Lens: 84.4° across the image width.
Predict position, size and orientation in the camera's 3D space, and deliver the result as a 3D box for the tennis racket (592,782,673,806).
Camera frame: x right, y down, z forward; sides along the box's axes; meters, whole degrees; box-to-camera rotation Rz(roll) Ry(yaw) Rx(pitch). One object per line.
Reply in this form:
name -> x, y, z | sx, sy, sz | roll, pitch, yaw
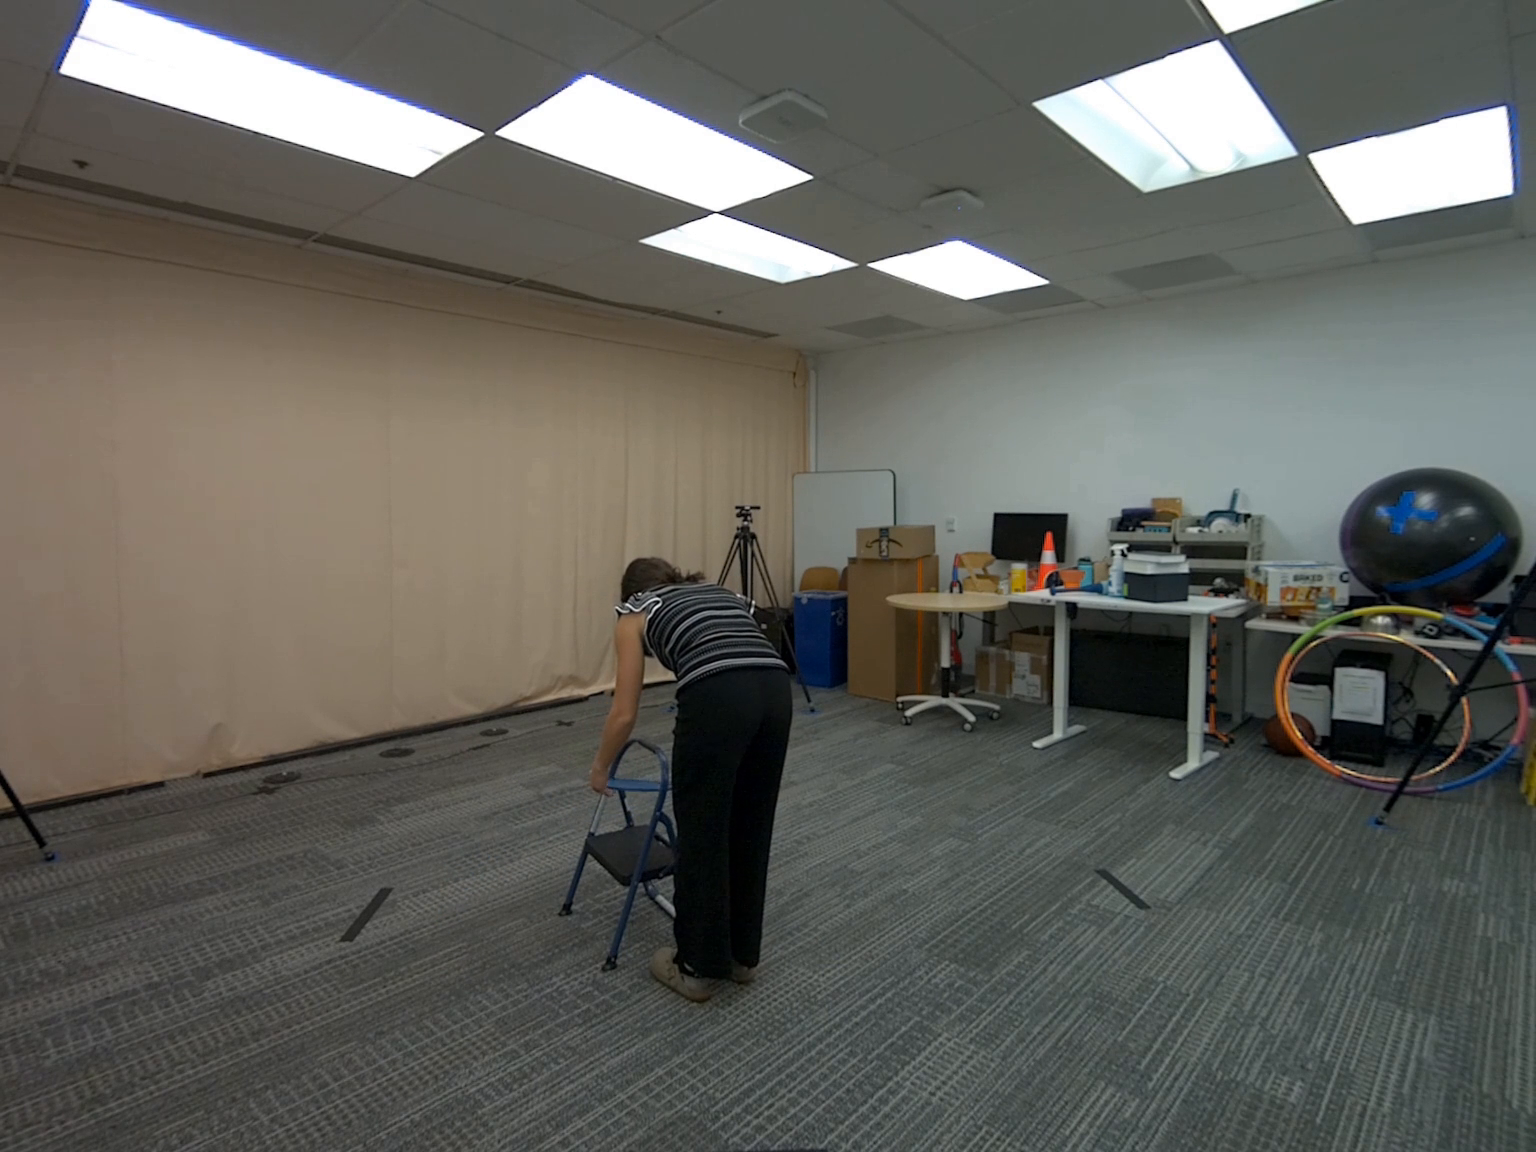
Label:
tennis racket -> -0.355, 0.714, 2.763 | 0.429, 0.032, 0.214 | 6, -8, -7
